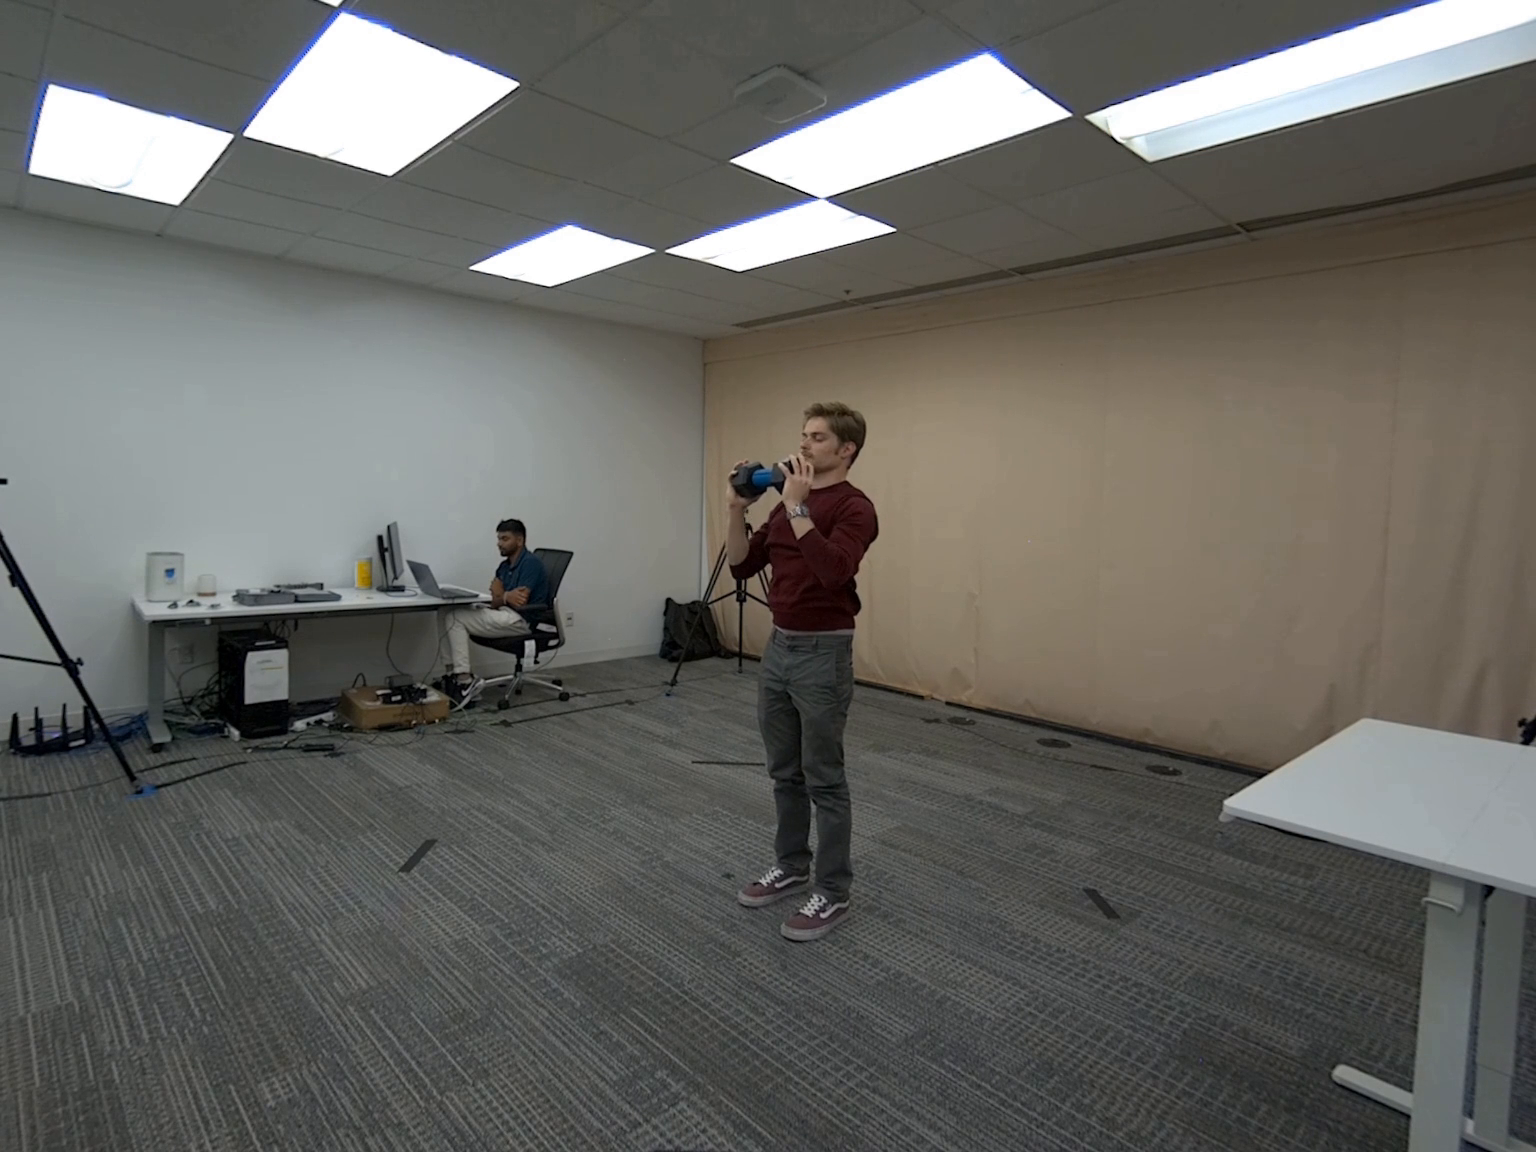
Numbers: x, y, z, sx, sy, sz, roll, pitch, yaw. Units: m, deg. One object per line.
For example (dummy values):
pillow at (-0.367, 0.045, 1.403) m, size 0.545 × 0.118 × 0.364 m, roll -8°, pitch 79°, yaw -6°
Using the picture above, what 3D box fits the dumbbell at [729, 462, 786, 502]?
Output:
dumbbell at (0.007, -0.330, 2.720) m, size 0.106 × 0.123 × 0.300 m, roll 19°, pitch -11°, yaw -34°
